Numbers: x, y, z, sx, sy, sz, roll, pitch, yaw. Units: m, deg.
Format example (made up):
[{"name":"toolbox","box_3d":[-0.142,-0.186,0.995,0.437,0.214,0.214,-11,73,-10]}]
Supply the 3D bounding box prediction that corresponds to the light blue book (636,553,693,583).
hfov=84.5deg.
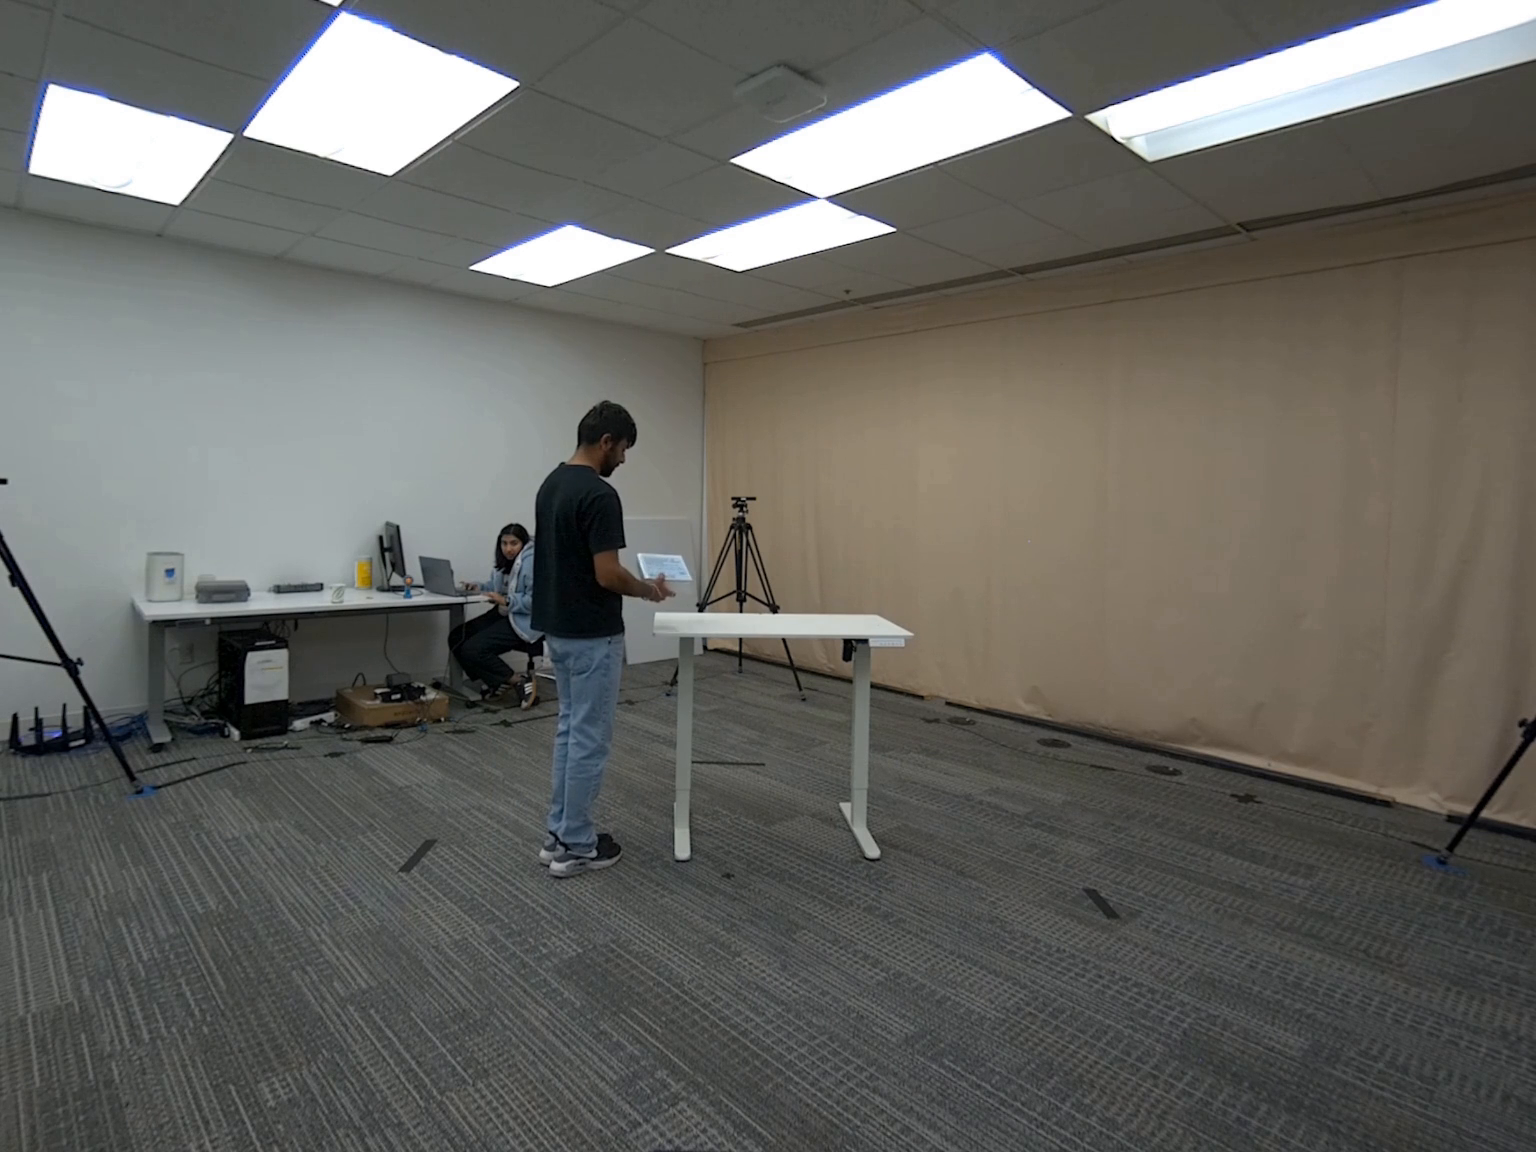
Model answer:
[{"name":"light blue book","box_3d":[-0.430,-0.008,3.373,0.189,0.058,0.267,4,21,-16]}]
